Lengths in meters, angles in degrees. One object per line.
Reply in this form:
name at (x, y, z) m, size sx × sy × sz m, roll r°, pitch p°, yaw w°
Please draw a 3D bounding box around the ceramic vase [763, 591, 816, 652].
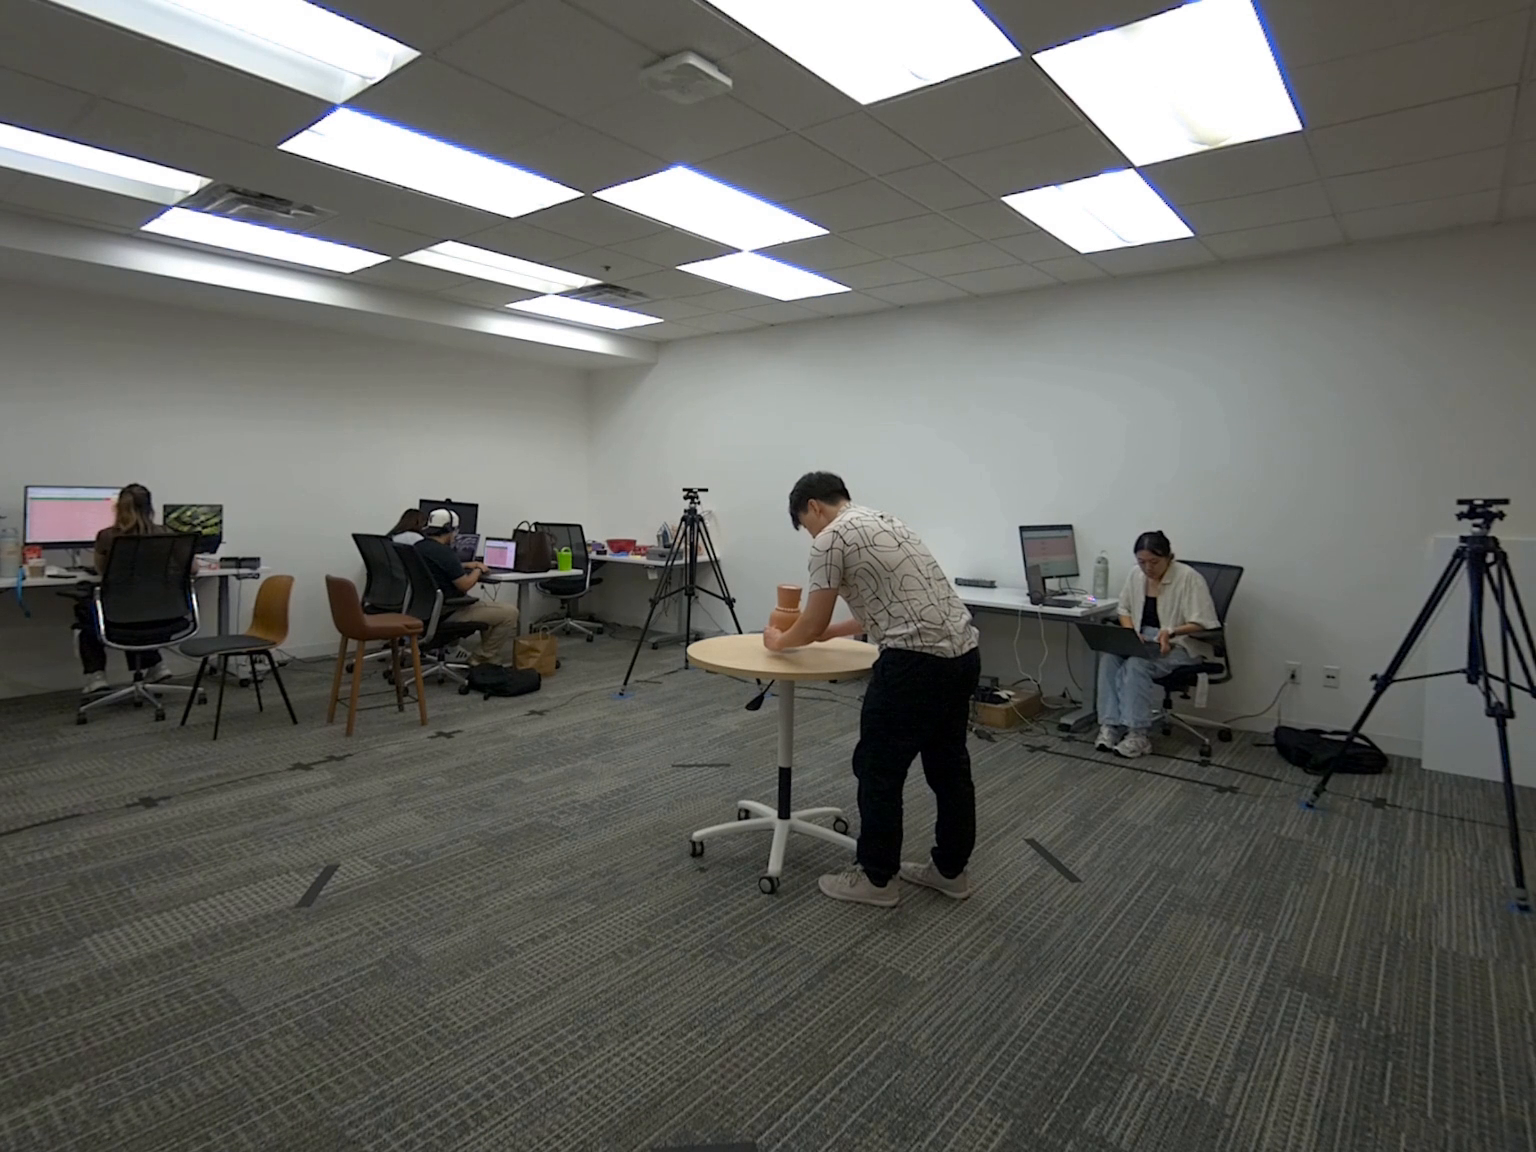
ceramic vase at (0.070, 0.148, 3.228) m, size 0.135 × 0.219 × 0.159 m, roll 6°, pitch 5°, yaw 1°
